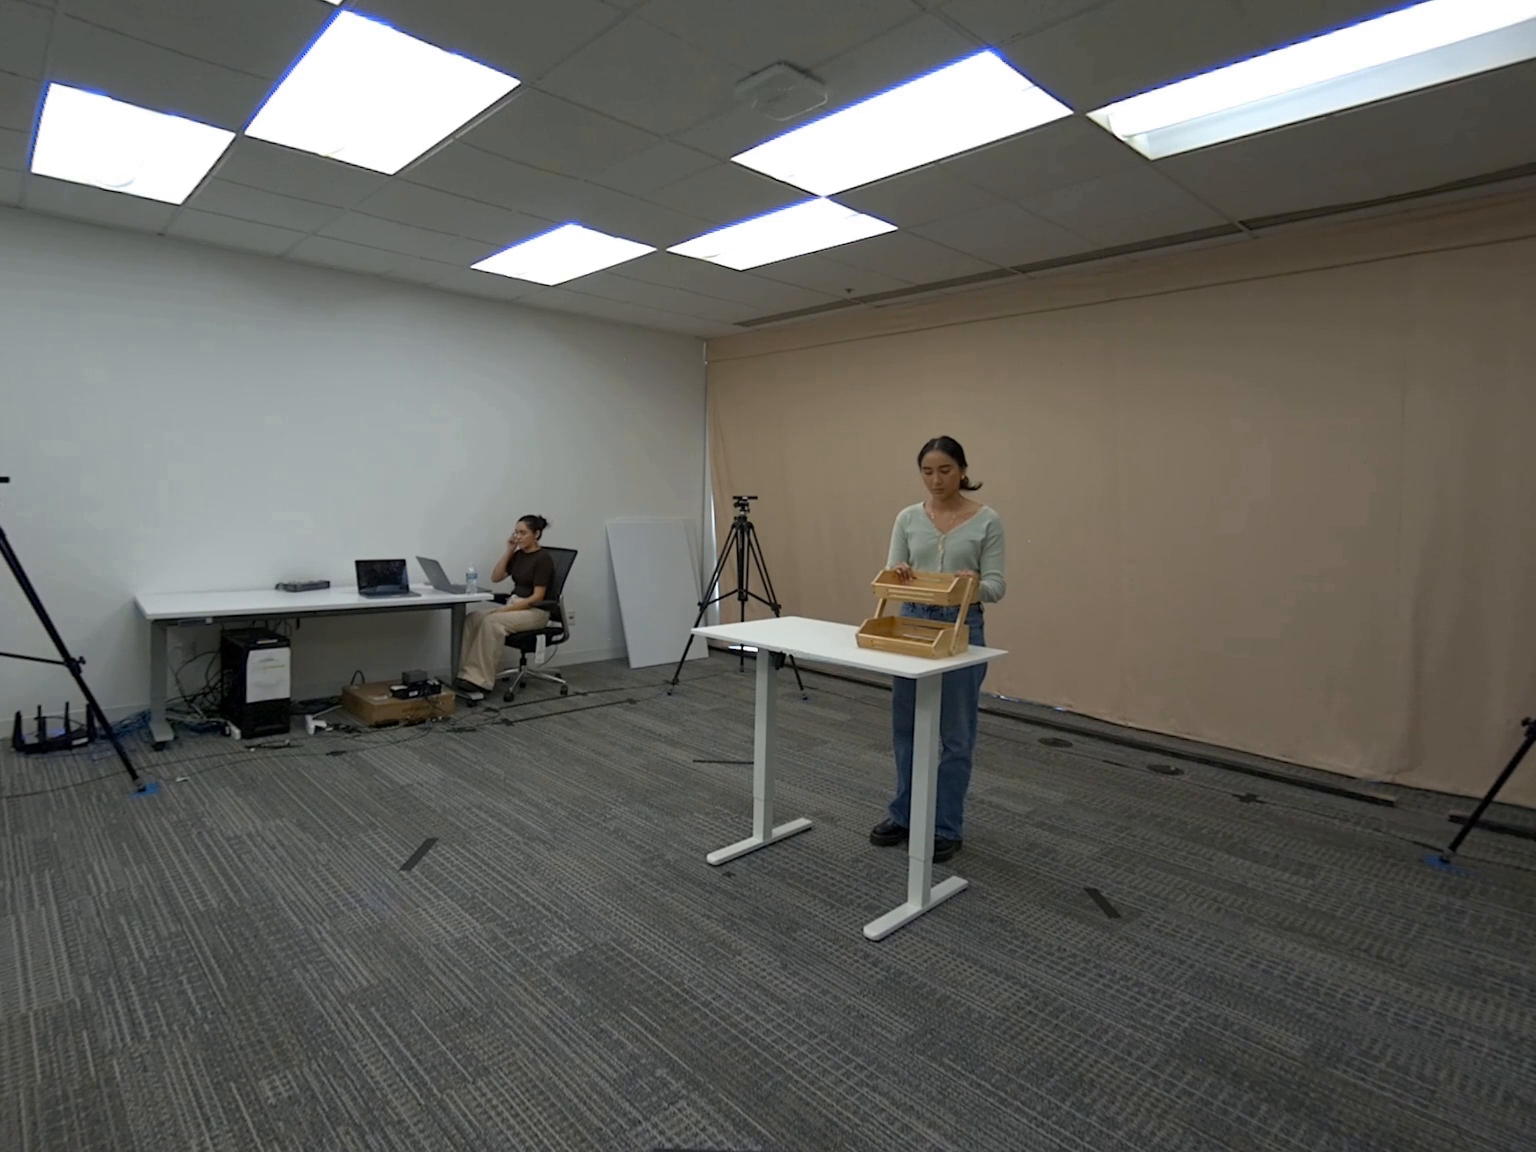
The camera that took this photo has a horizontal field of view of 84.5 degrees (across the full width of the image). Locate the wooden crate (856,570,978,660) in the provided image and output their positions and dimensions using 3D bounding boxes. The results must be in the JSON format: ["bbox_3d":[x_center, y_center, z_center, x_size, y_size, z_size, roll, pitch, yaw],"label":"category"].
[{"bbox_3d":[0.515,0.124,2.926,0.333,0.272,0.295,6,6,40],"label":"wooden crate"}]
